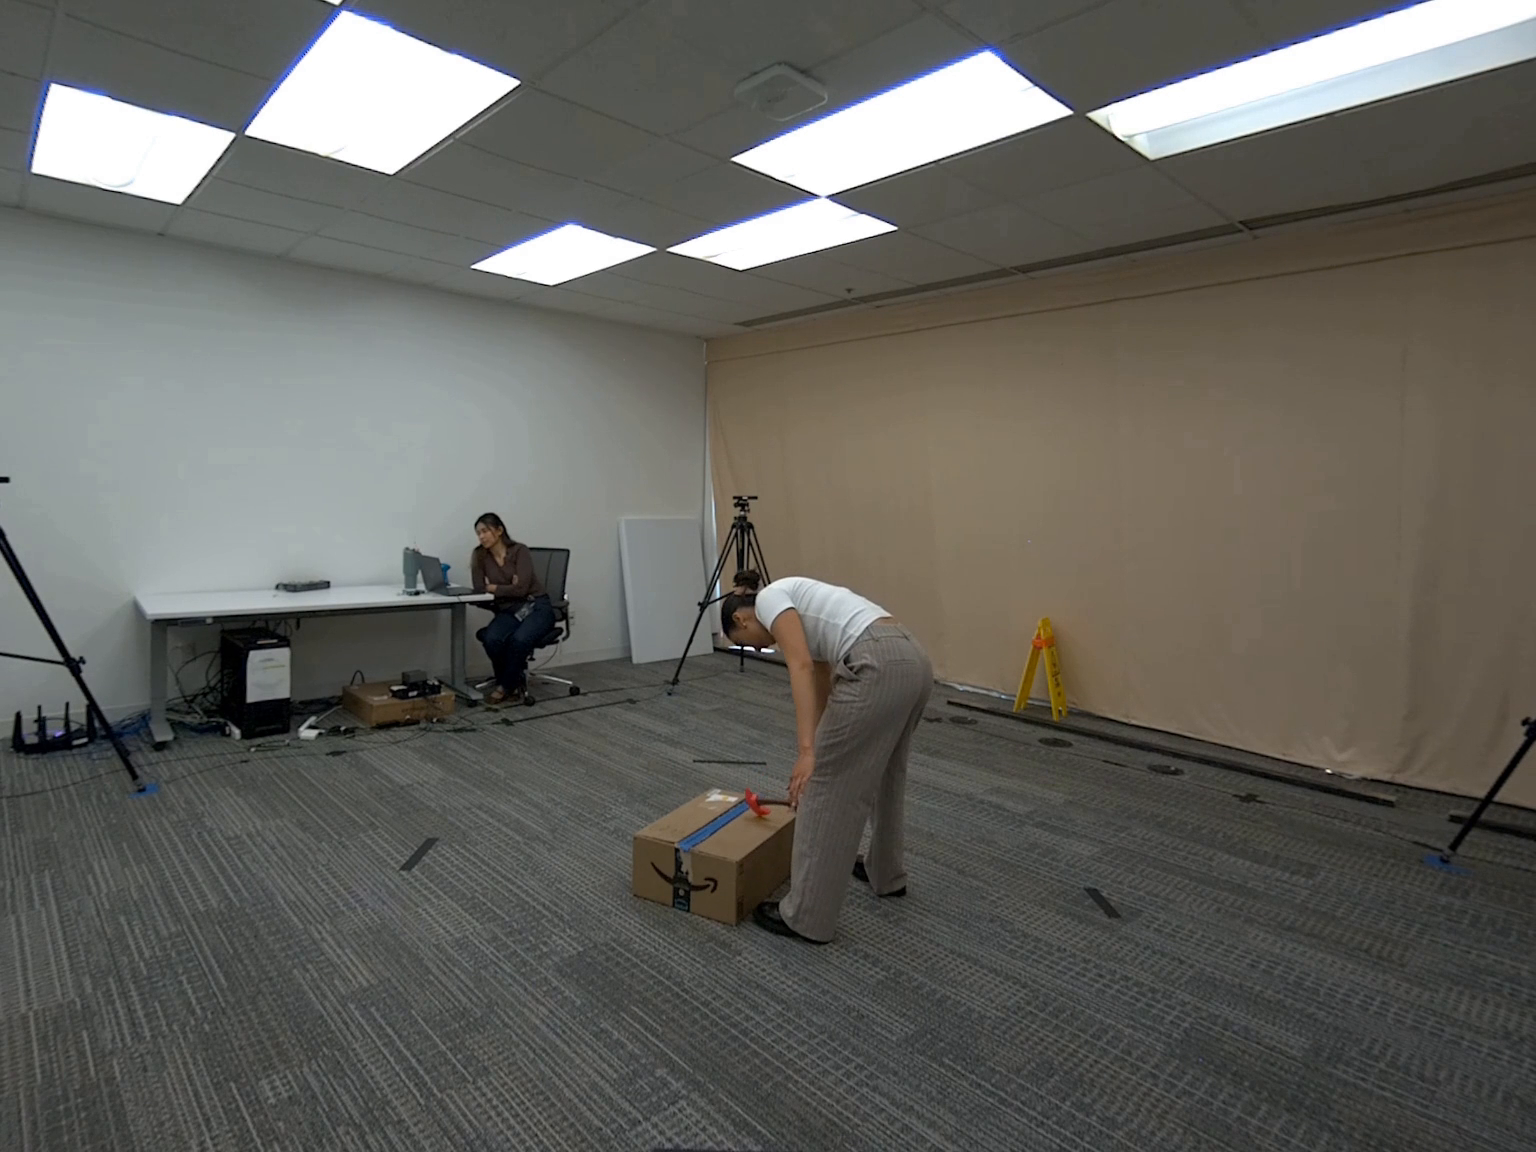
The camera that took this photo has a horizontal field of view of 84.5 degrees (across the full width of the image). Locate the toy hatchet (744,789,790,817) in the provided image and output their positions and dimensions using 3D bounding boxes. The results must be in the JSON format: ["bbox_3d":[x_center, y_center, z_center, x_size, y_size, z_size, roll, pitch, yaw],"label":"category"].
[{"bbox_3d":[0.036,0.845,3.039,0.276,0.128,0.029,9,34,25],"label":"toy hatchet"}]
